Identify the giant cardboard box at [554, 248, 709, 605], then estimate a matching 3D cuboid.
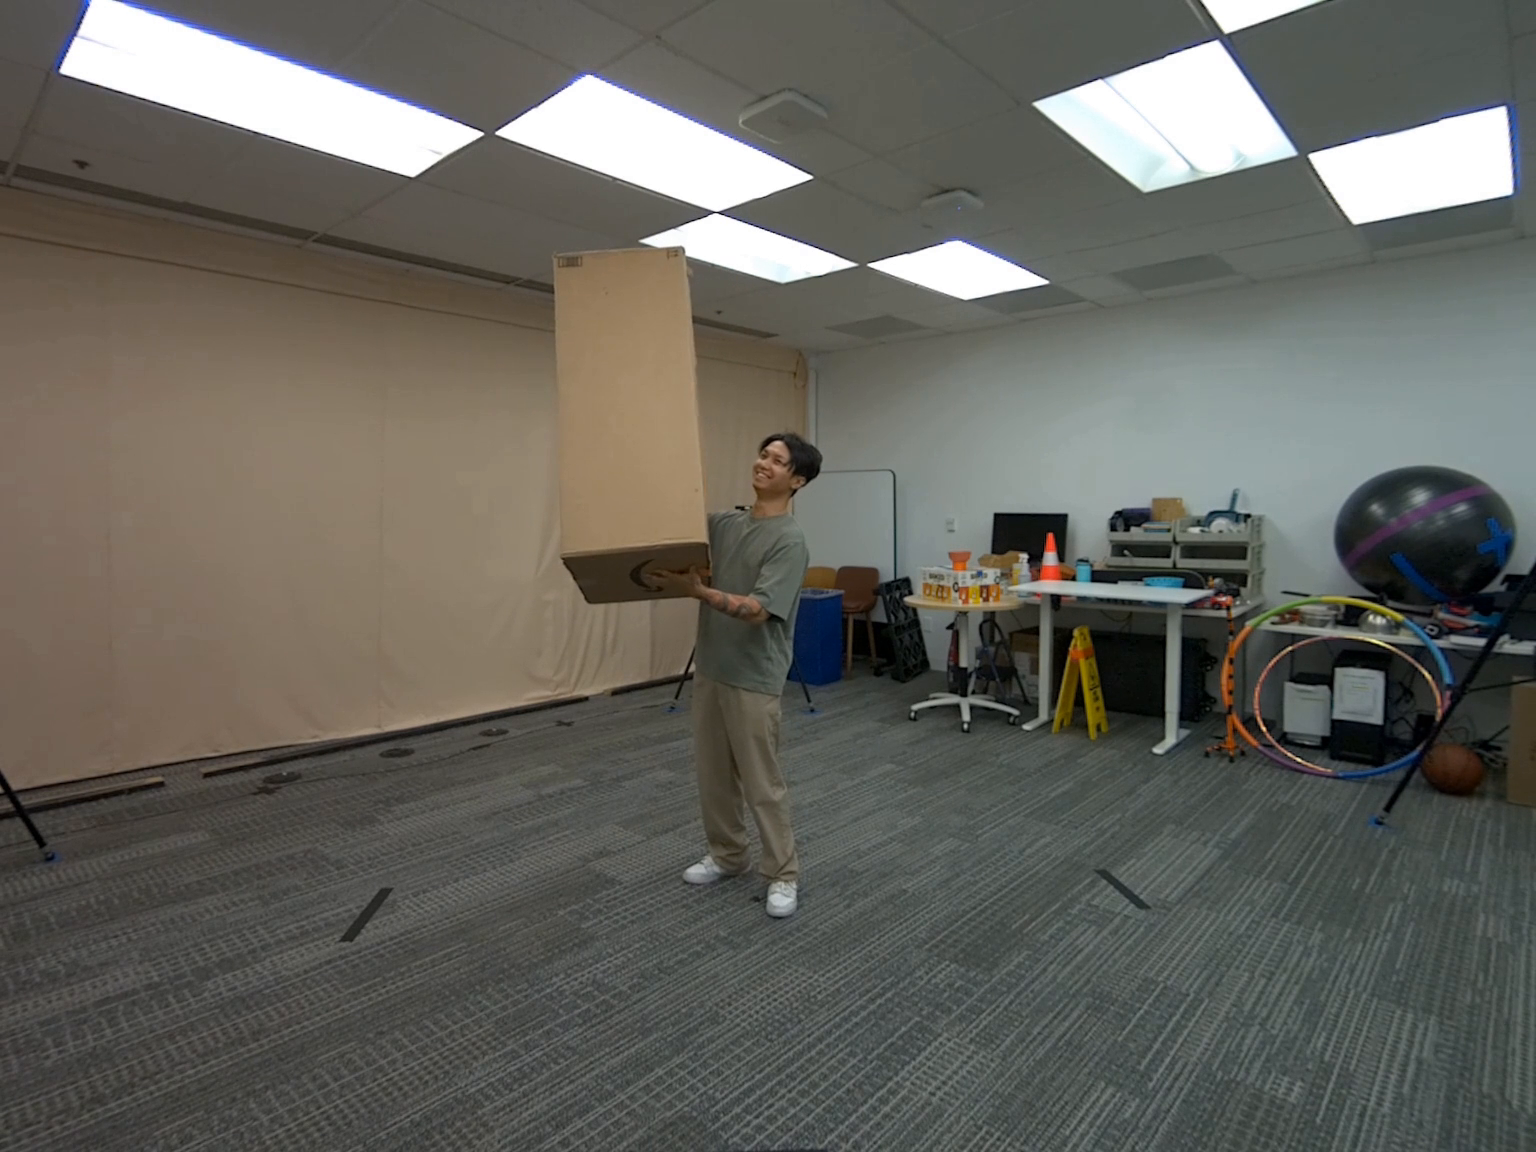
[{"bbox_3d":[-0.440,-0.479,2.810,0.425,1.039,0.572,-5,-18,-5],"label":"giant cardboard box"}]
